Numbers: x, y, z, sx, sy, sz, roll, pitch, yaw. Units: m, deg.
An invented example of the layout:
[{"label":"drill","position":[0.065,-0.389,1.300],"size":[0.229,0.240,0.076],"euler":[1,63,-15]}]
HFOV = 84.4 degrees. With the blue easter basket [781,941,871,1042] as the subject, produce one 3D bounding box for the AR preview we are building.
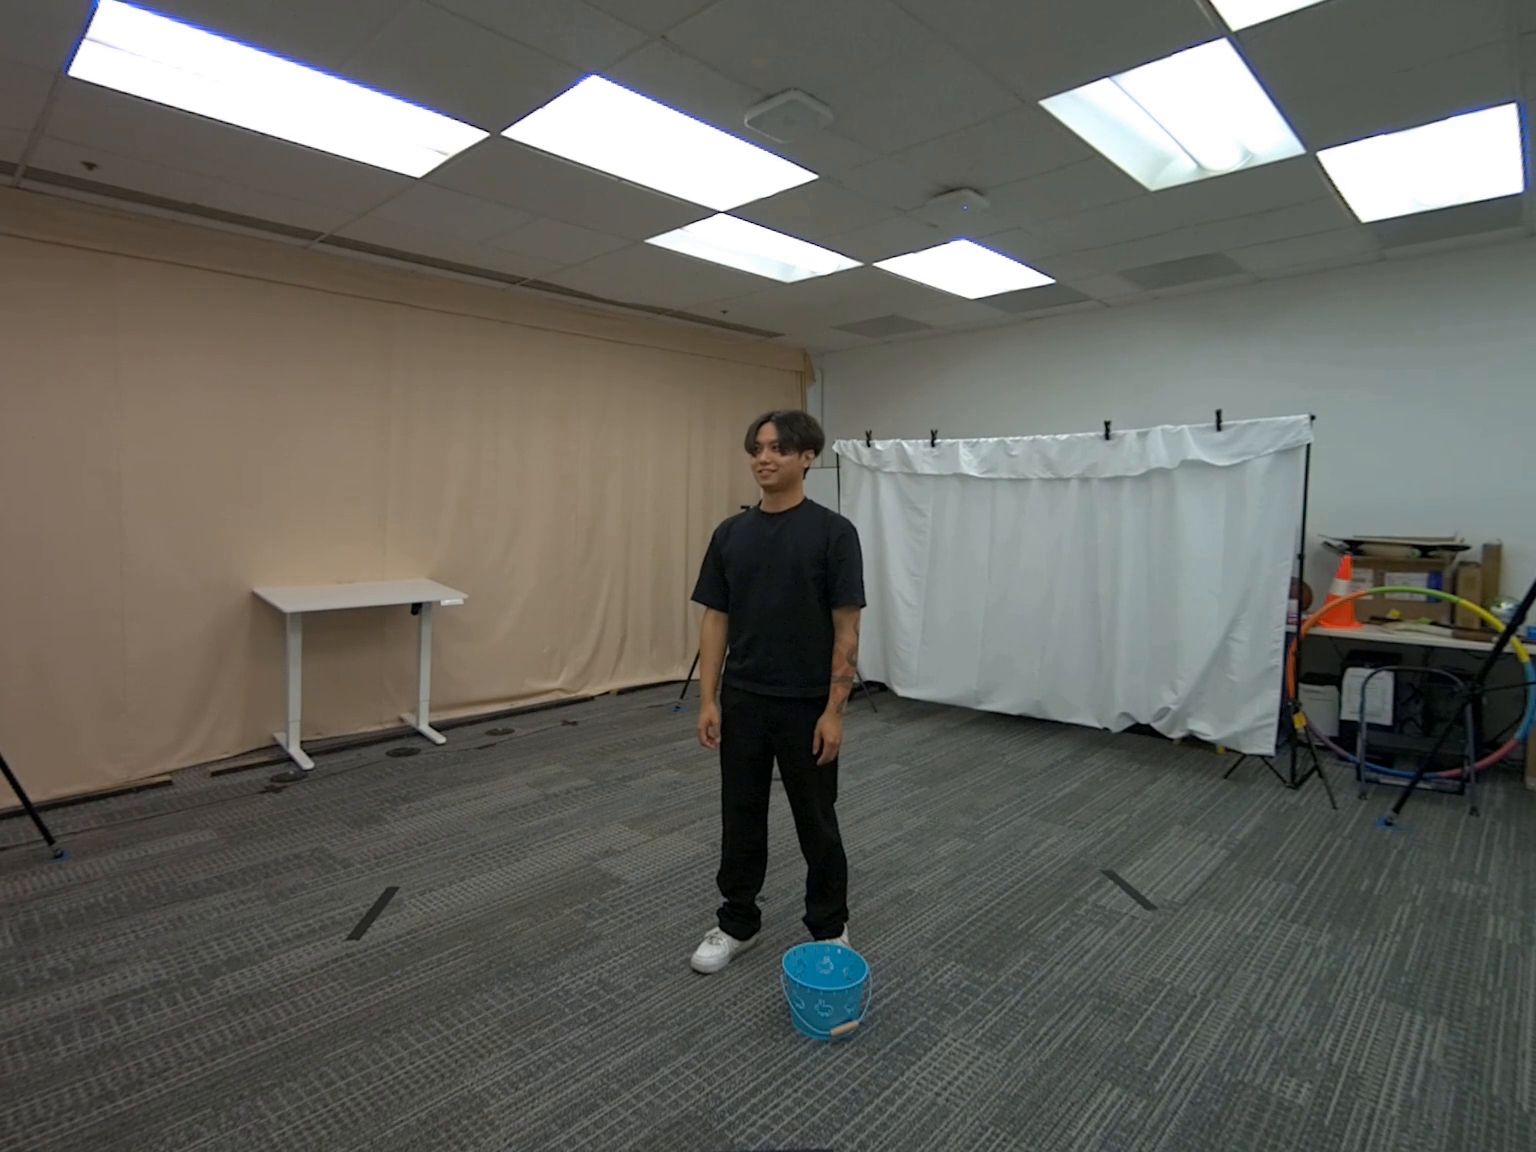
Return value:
[{"label":"blue easter basket","position":[0.158,1.121,2.285],"size":[0.243,0.155,0.244],"euler":[0,5,-2]}]
